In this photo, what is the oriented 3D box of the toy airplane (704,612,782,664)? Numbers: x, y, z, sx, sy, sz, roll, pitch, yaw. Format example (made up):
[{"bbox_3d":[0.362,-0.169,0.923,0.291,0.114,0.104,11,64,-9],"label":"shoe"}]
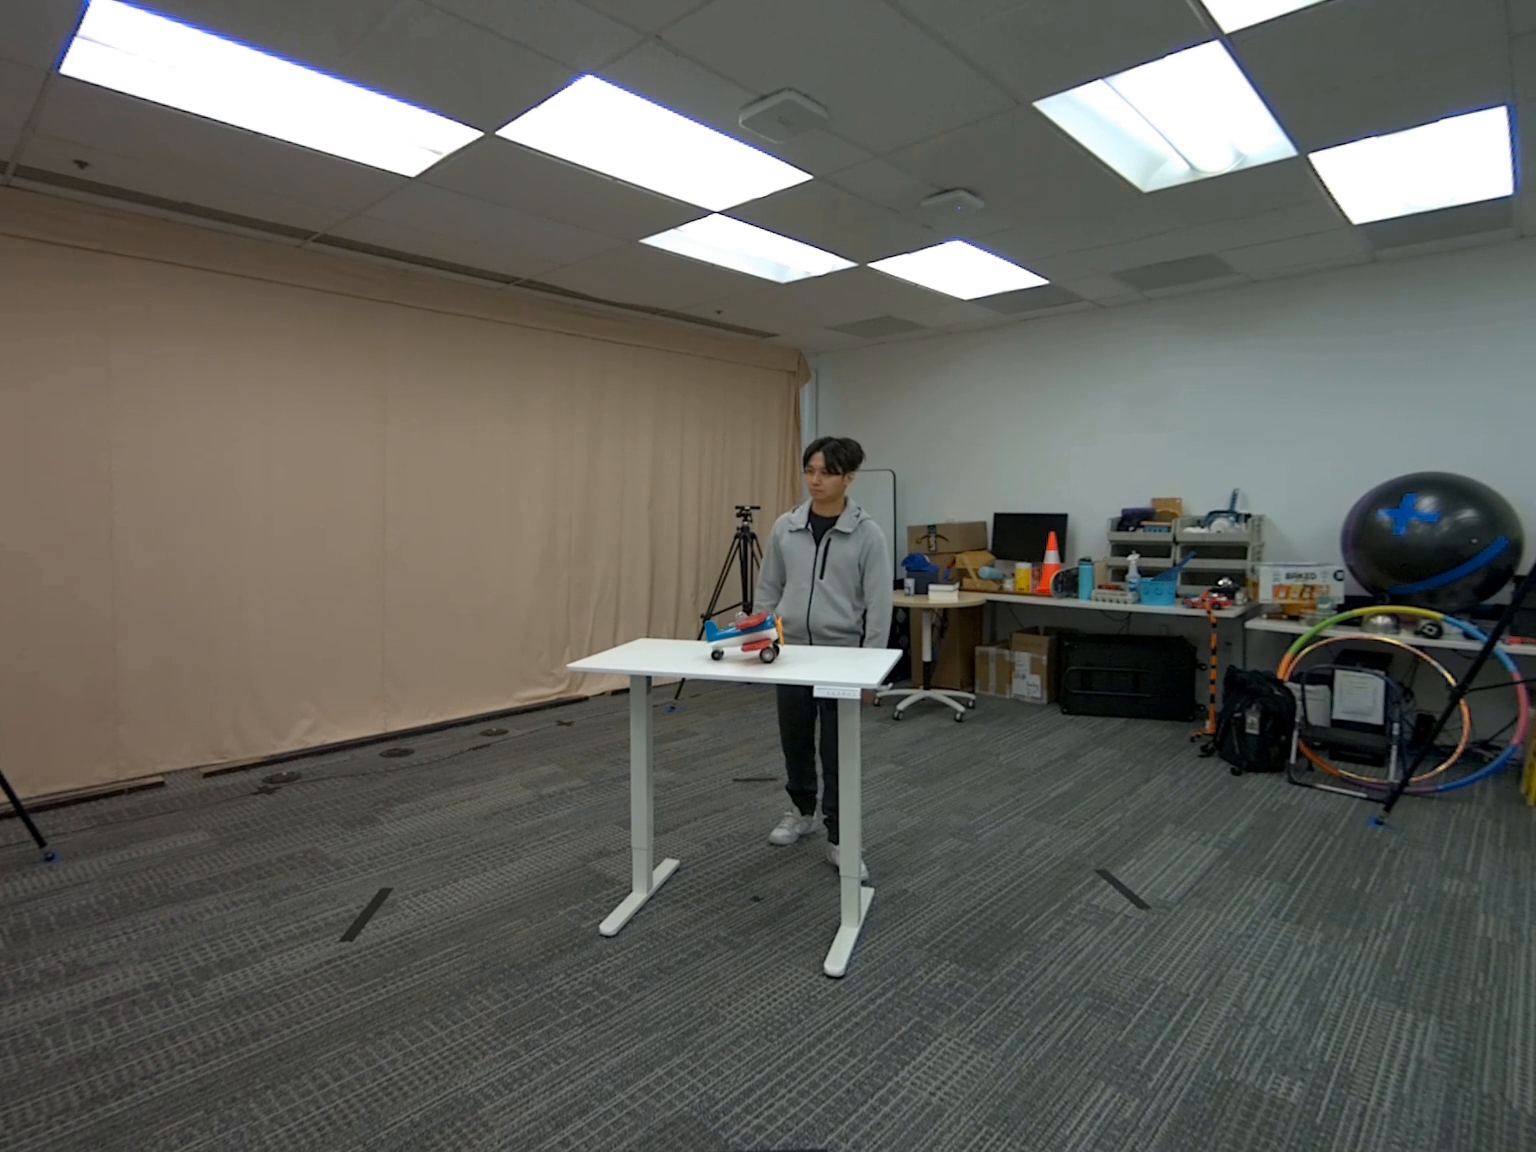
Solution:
[{"bbox_3d":[-0.075,0.206,2.760,0.255,0.156,0.256,-2,4,-18],"label":"toy airplane"}]
